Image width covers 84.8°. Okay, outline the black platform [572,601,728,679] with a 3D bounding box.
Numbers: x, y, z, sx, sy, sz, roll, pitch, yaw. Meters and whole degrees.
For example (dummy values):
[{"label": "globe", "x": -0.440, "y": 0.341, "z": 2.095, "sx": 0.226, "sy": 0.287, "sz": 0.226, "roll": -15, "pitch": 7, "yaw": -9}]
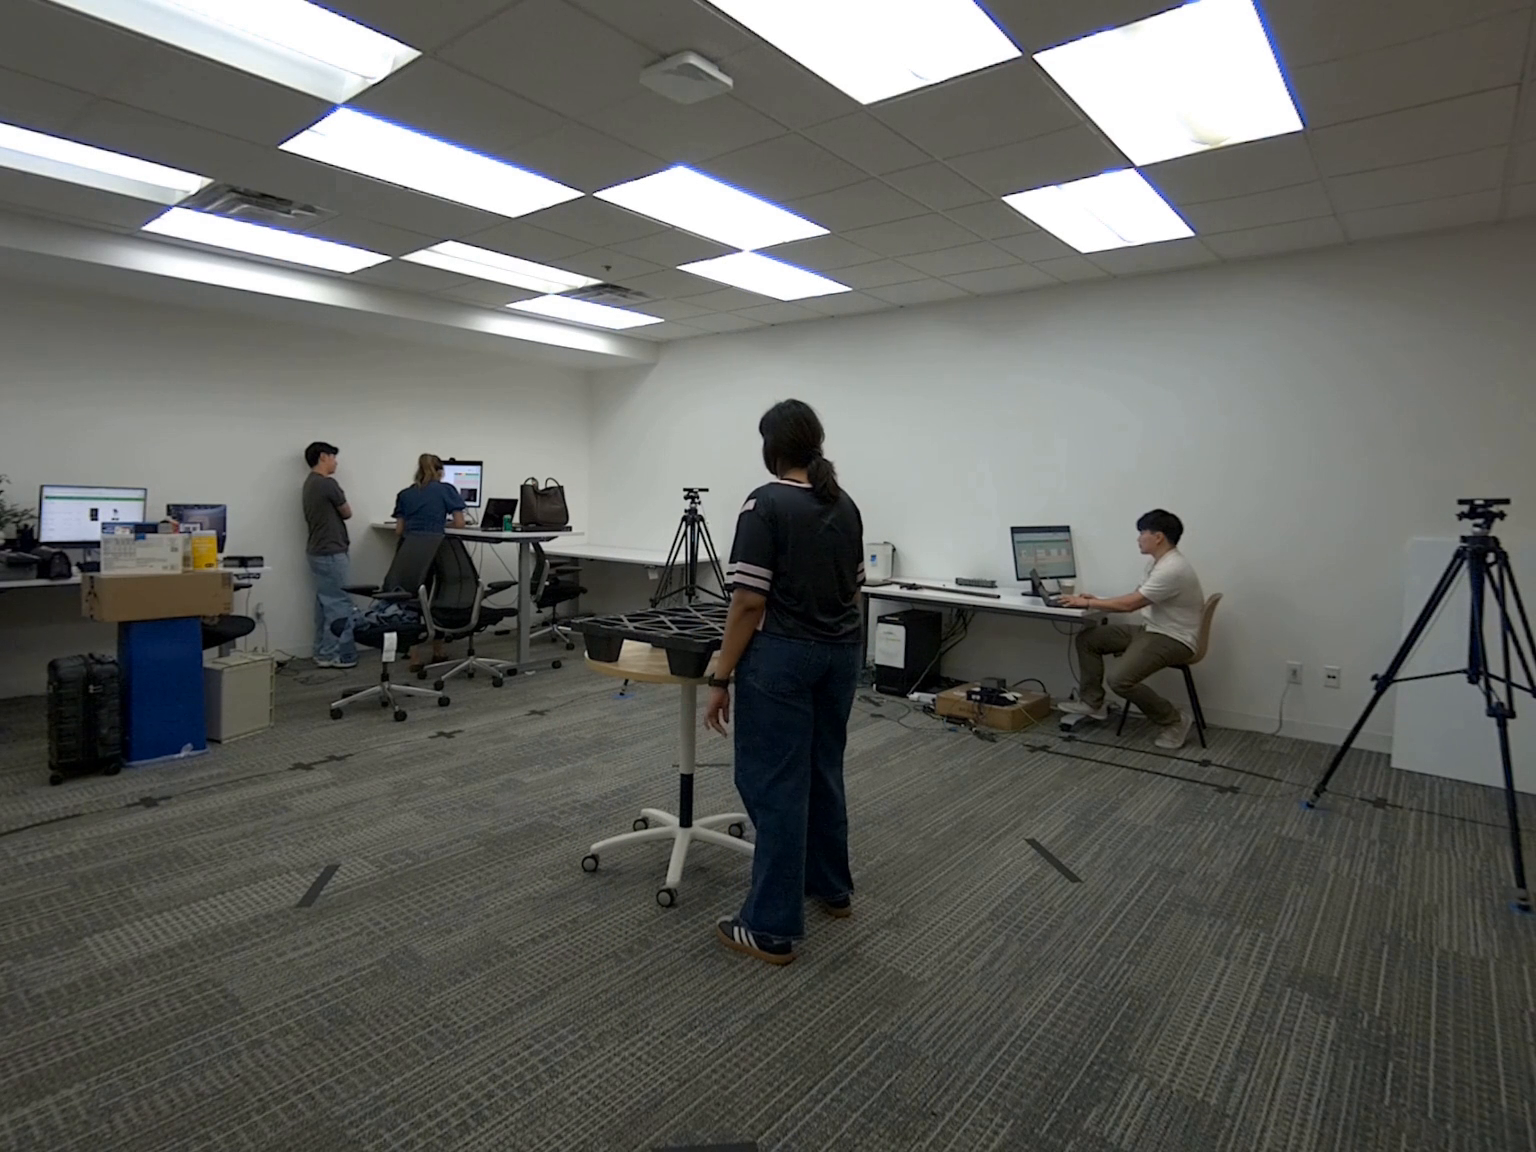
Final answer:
[{"label": "black platform", "x": -0.238, "y": 0.220, "z": 3.127, "sx": 0.625, "sy": 0.143, "sz": 0.783, "roll": 6, "pitch": 7, "yaw": 34}]
